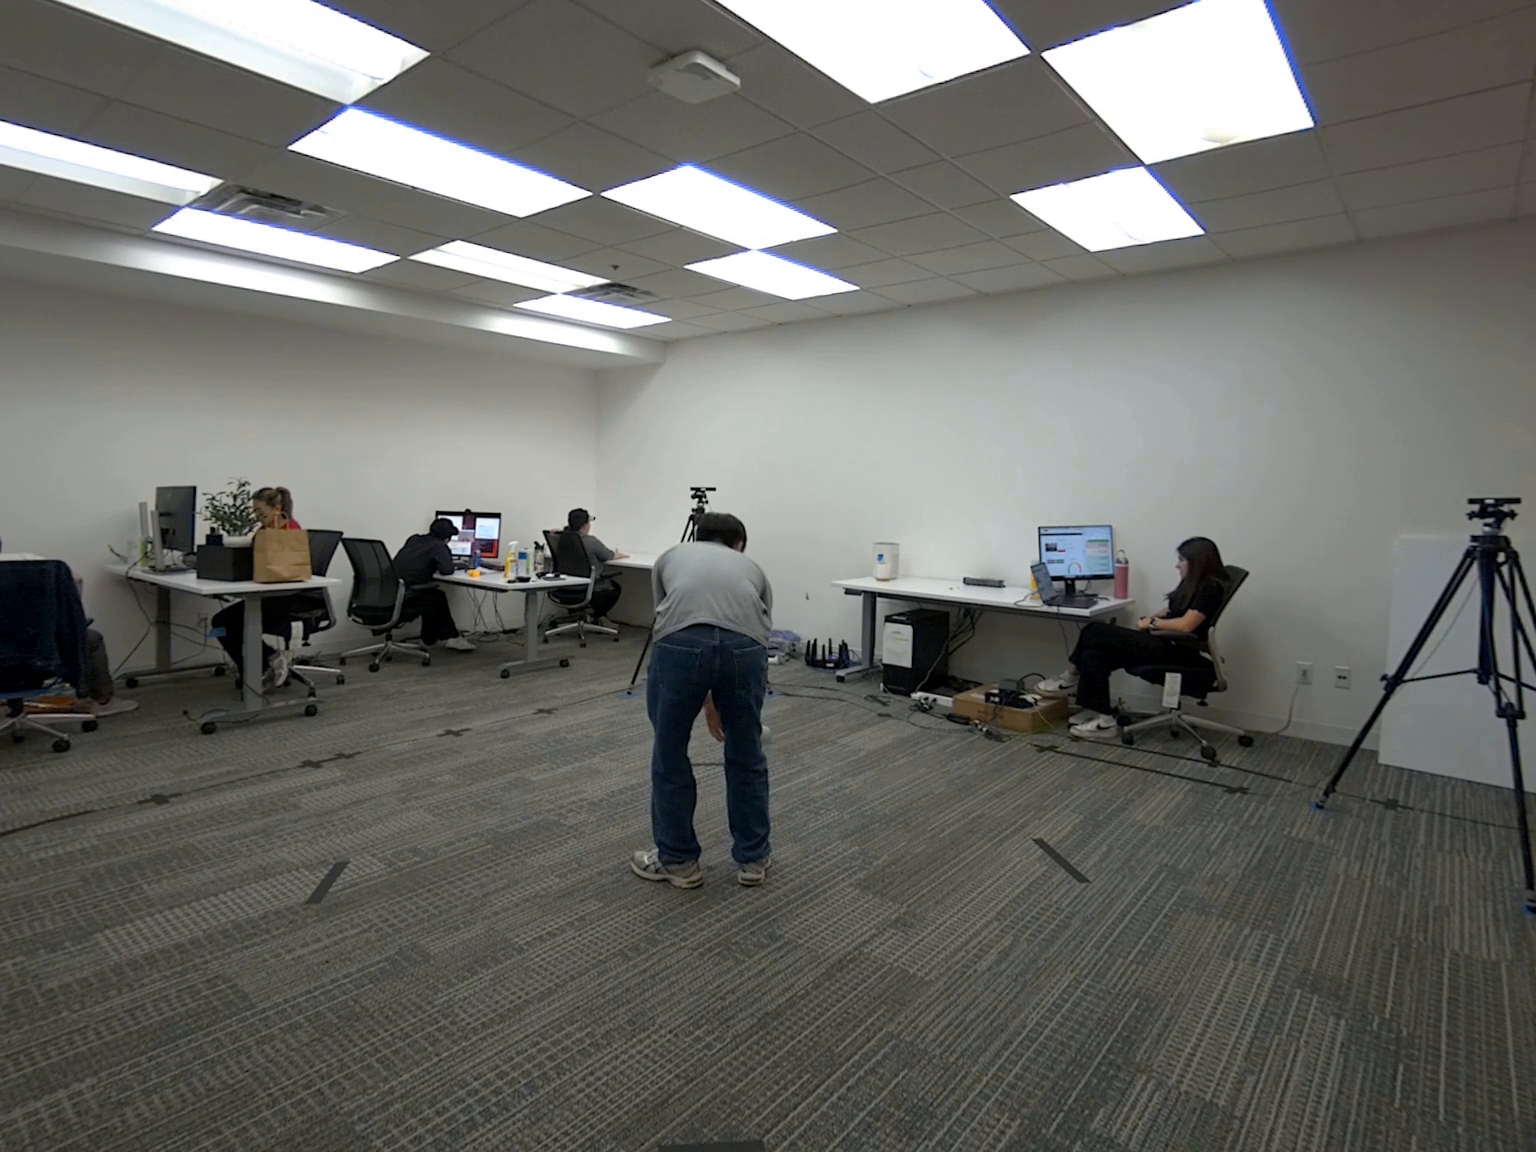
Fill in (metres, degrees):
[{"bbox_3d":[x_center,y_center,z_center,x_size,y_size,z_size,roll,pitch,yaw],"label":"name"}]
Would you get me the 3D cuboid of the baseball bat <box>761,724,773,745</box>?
[{"bbox_3d":[-0.099,0.651,3.449,0.090,0.090,0.531,2,-8,11],"label":"baseball bat"}]
